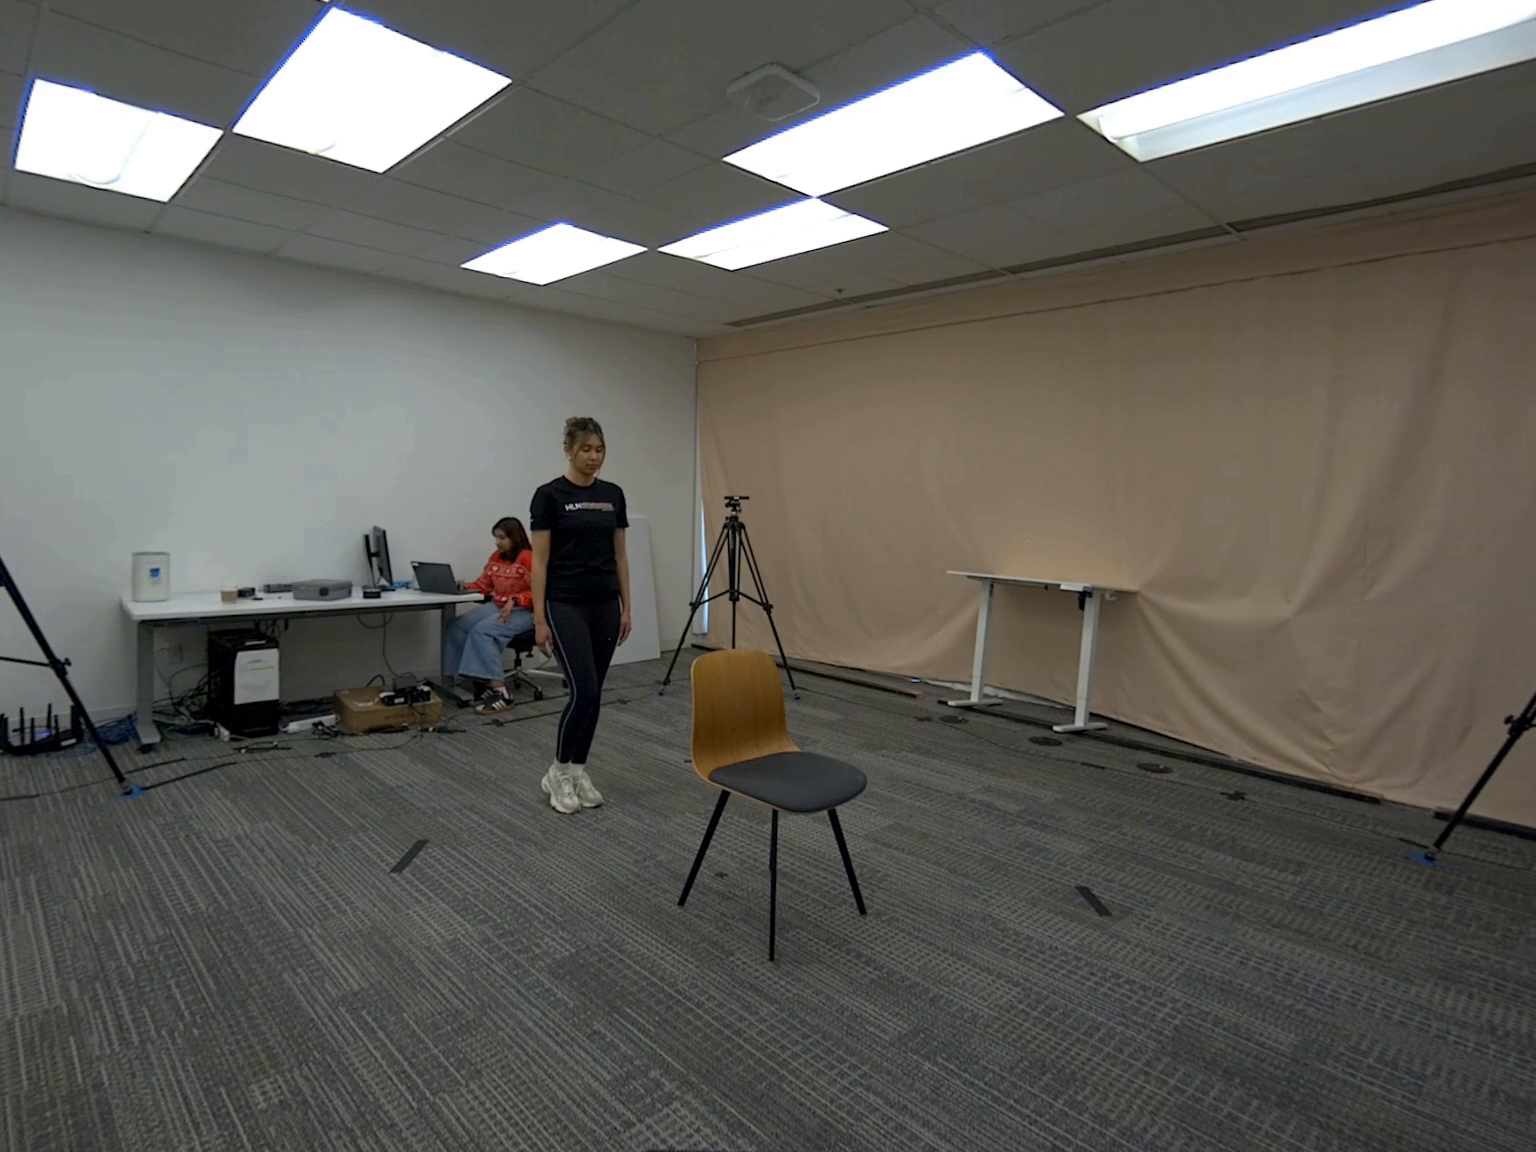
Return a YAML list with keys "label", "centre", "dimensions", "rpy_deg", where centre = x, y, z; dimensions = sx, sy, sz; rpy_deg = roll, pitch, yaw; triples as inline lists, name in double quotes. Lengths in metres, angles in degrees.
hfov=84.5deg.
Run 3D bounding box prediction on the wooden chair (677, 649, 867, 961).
- label: "wooden chair"
  centre: [0.025, 0.707, 2.807]
  dimensions: [0.467, 0.877, 0.535]
  rpy_deg: [-2, 0, -44]
